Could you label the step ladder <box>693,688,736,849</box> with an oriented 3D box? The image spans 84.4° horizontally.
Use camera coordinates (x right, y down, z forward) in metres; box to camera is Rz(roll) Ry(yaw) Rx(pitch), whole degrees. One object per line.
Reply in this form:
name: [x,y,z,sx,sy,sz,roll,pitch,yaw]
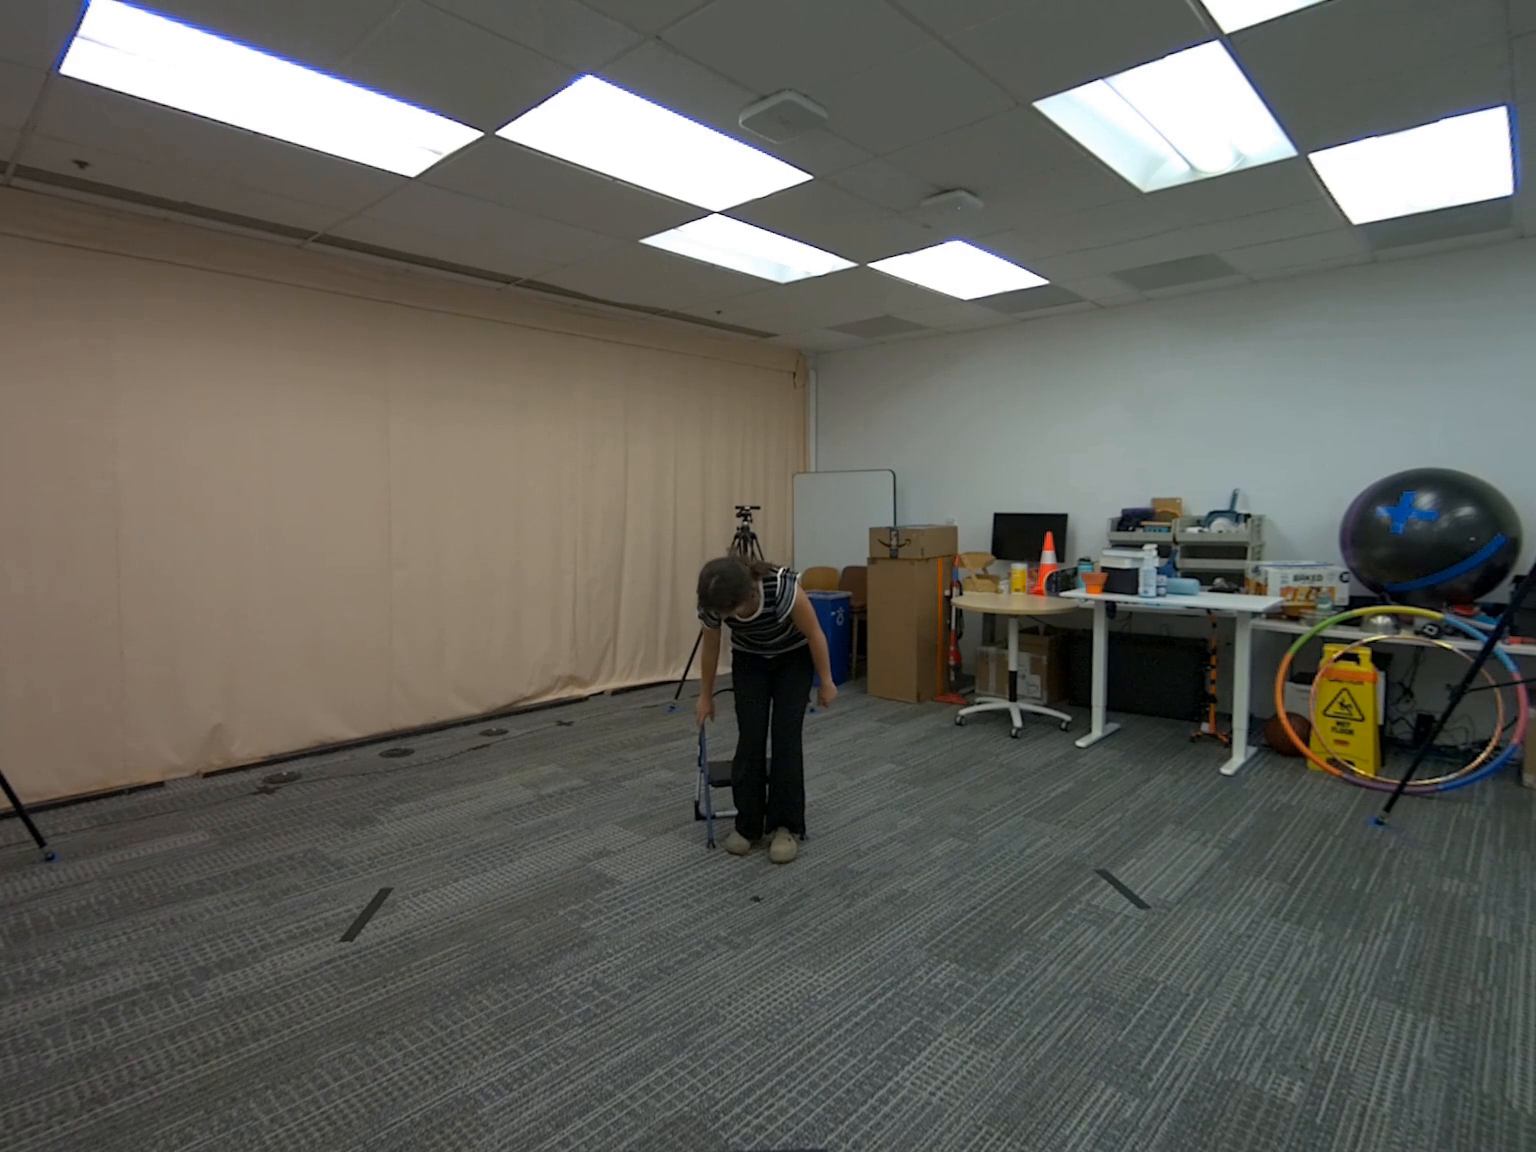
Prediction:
step ladder: [-0.082,0.791,3.621,0.424,0.605,0.355,-1,4,-14]
